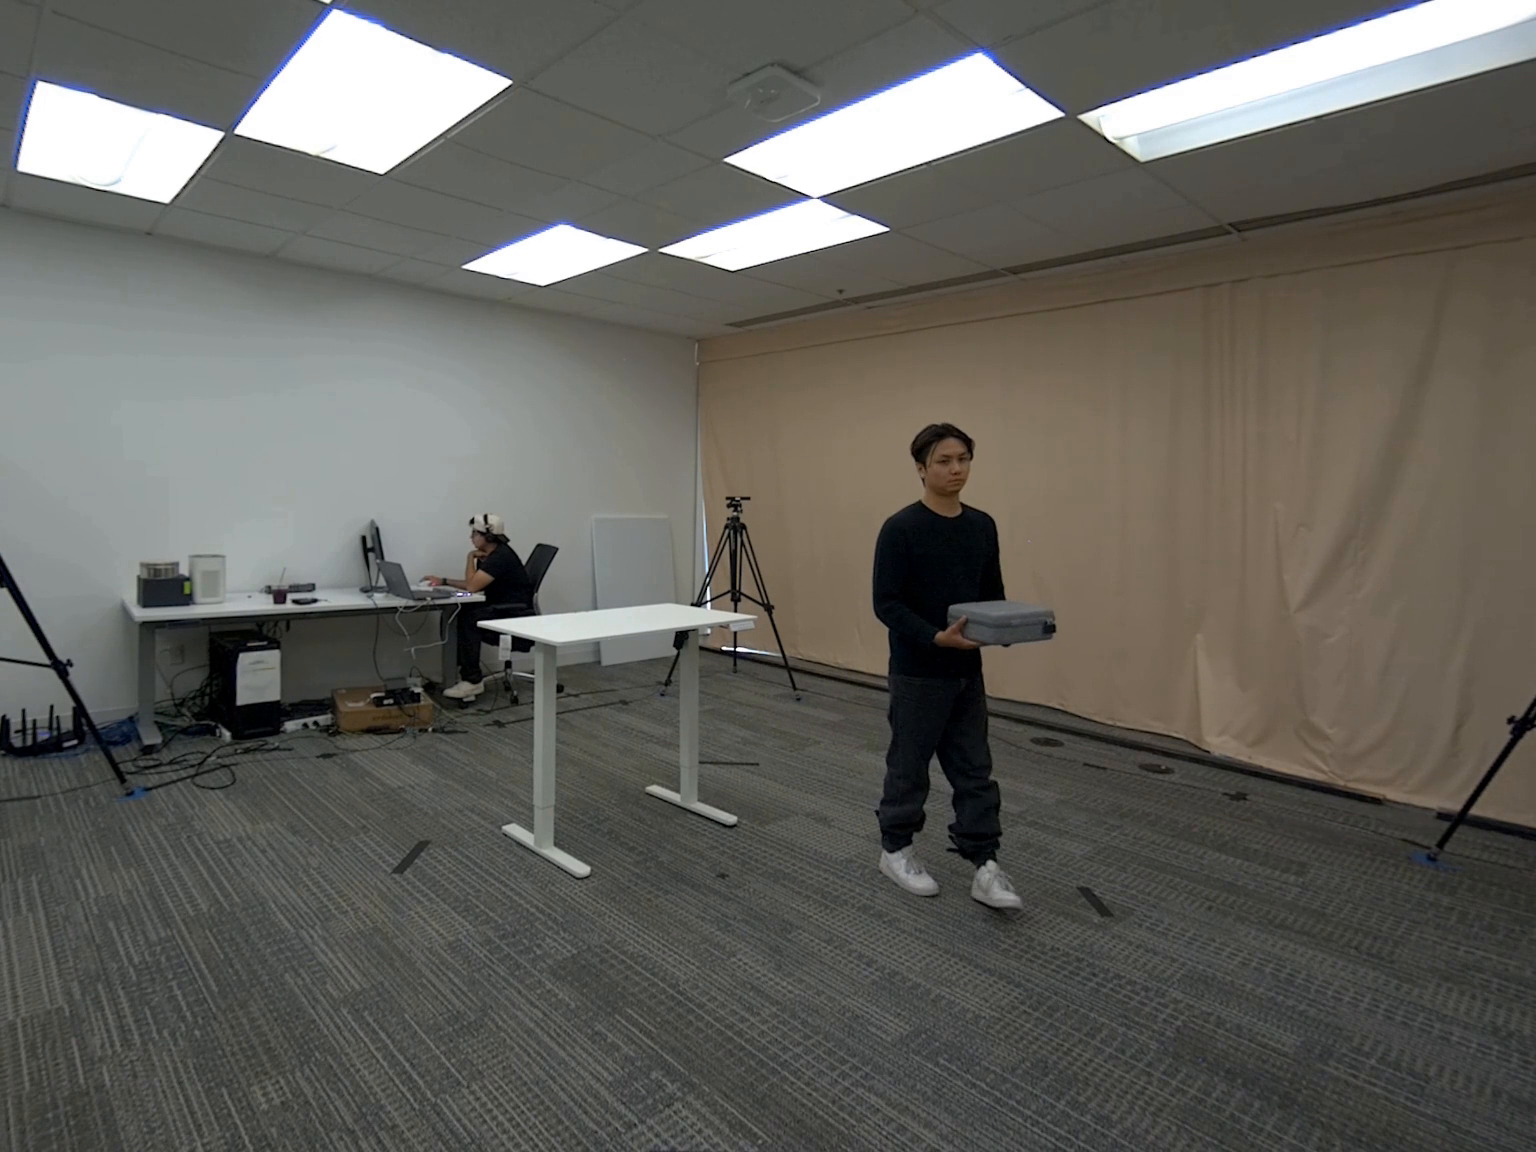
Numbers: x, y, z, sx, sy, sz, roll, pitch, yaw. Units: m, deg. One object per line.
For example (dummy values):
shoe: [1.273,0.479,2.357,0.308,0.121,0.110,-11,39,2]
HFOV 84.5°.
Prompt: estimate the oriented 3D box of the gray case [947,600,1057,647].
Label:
gray case: [0.742,0.143,2.726,0.257,0.104,0.262,-8,8,-24]
